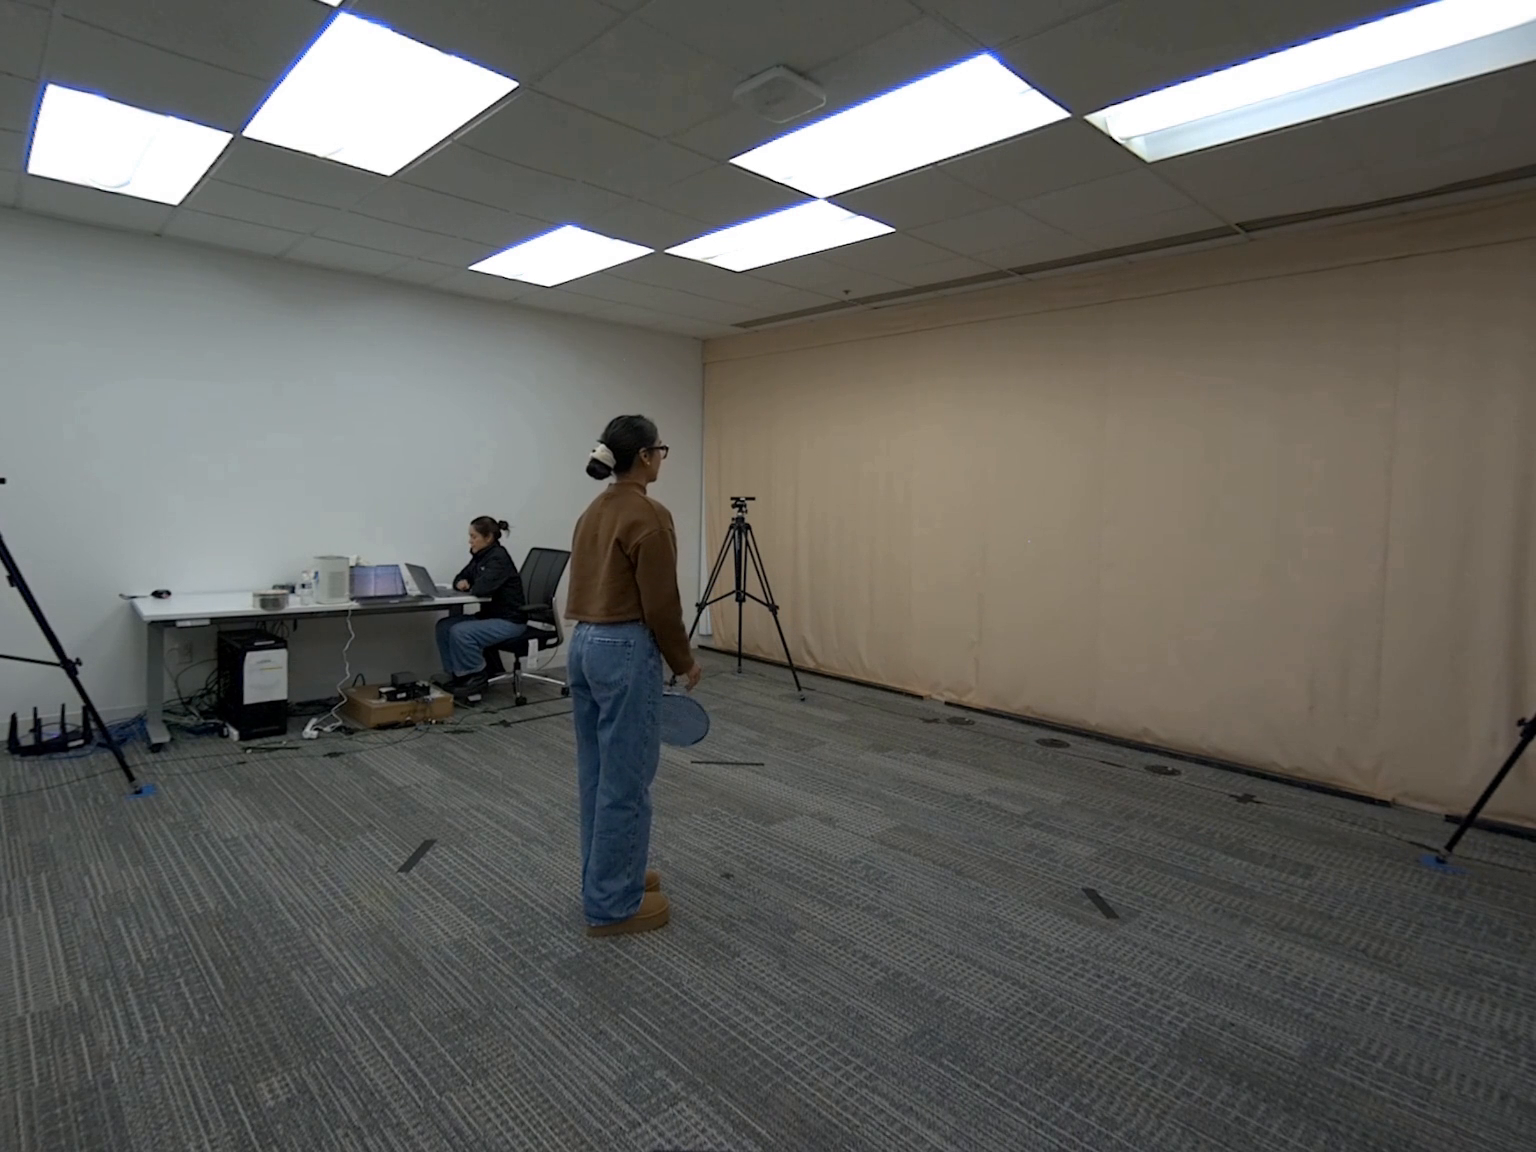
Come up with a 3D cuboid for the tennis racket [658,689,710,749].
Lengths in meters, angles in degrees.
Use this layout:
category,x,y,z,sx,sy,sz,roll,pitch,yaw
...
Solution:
category,x,y,z,sx,sy,sz,roll,pitch,yaw
tennis racket,-0.396,0.451,3.034,0.424,0.214,0.032,42,18,-19
